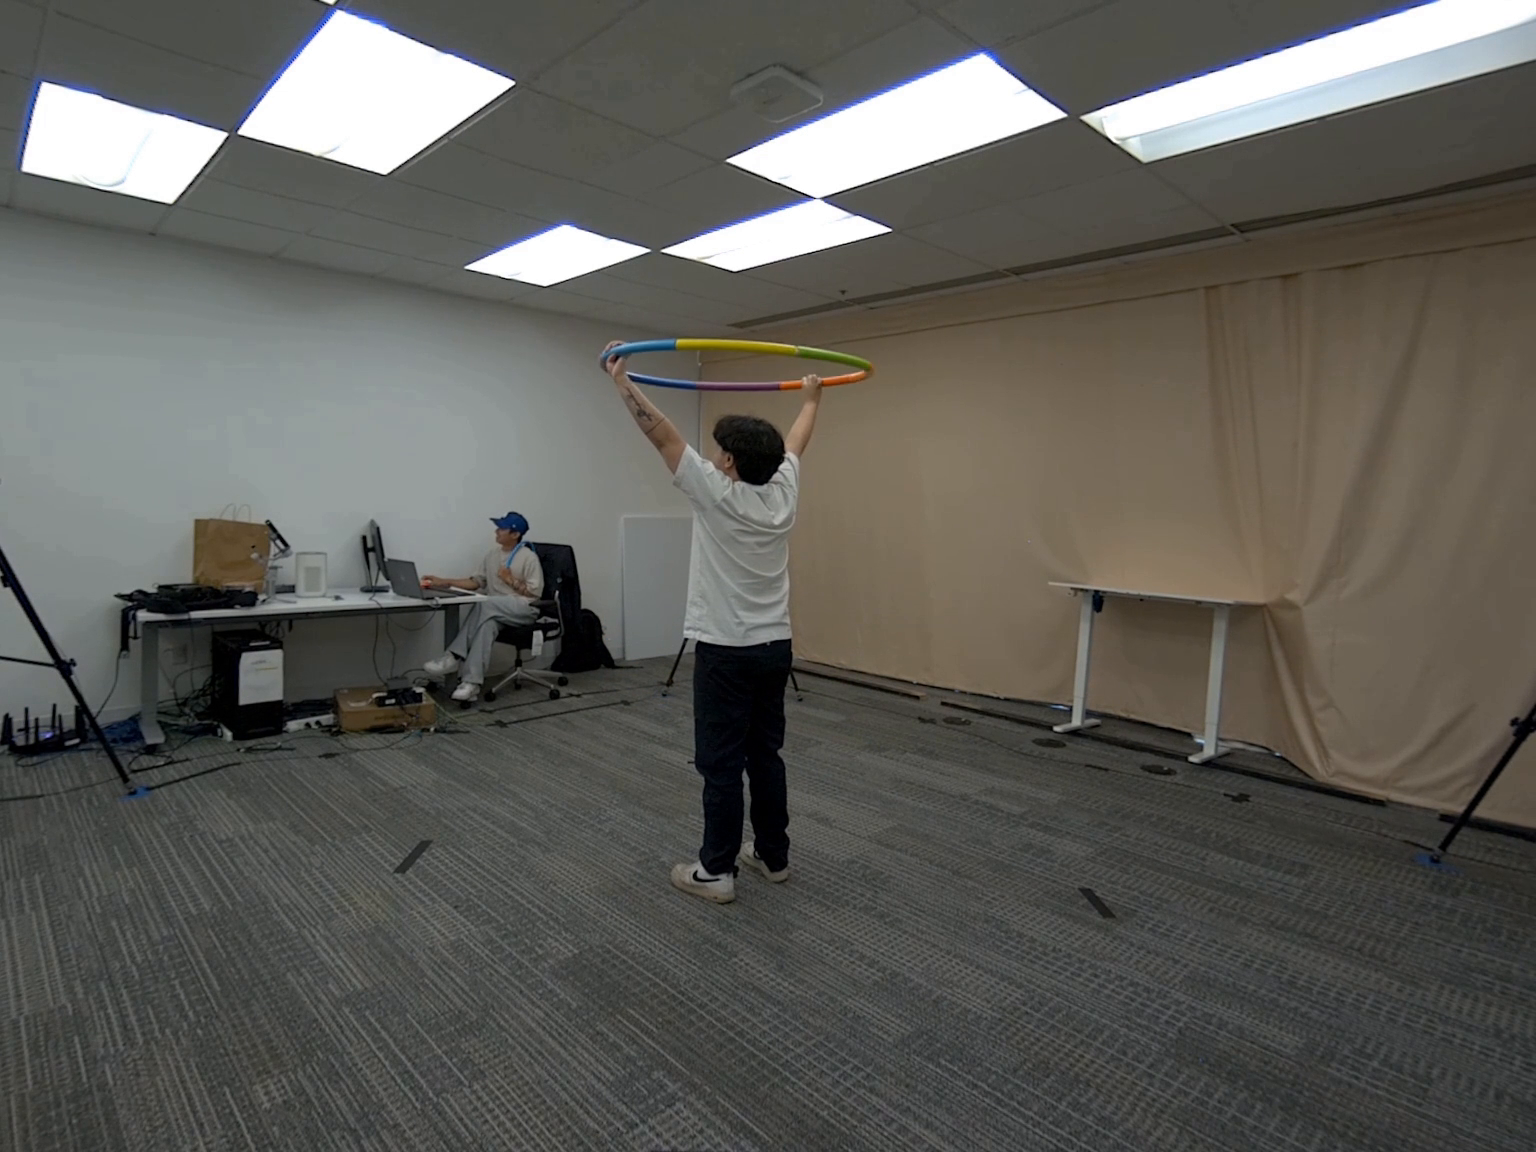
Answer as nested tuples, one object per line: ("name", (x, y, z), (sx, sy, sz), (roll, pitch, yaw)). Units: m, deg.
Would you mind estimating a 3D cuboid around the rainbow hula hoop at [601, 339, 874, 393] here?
("rainbow hula hoop", (-0.123, -0.749, 3.036), (0.985, 0.051, 0.989), (2, 6, -1))
